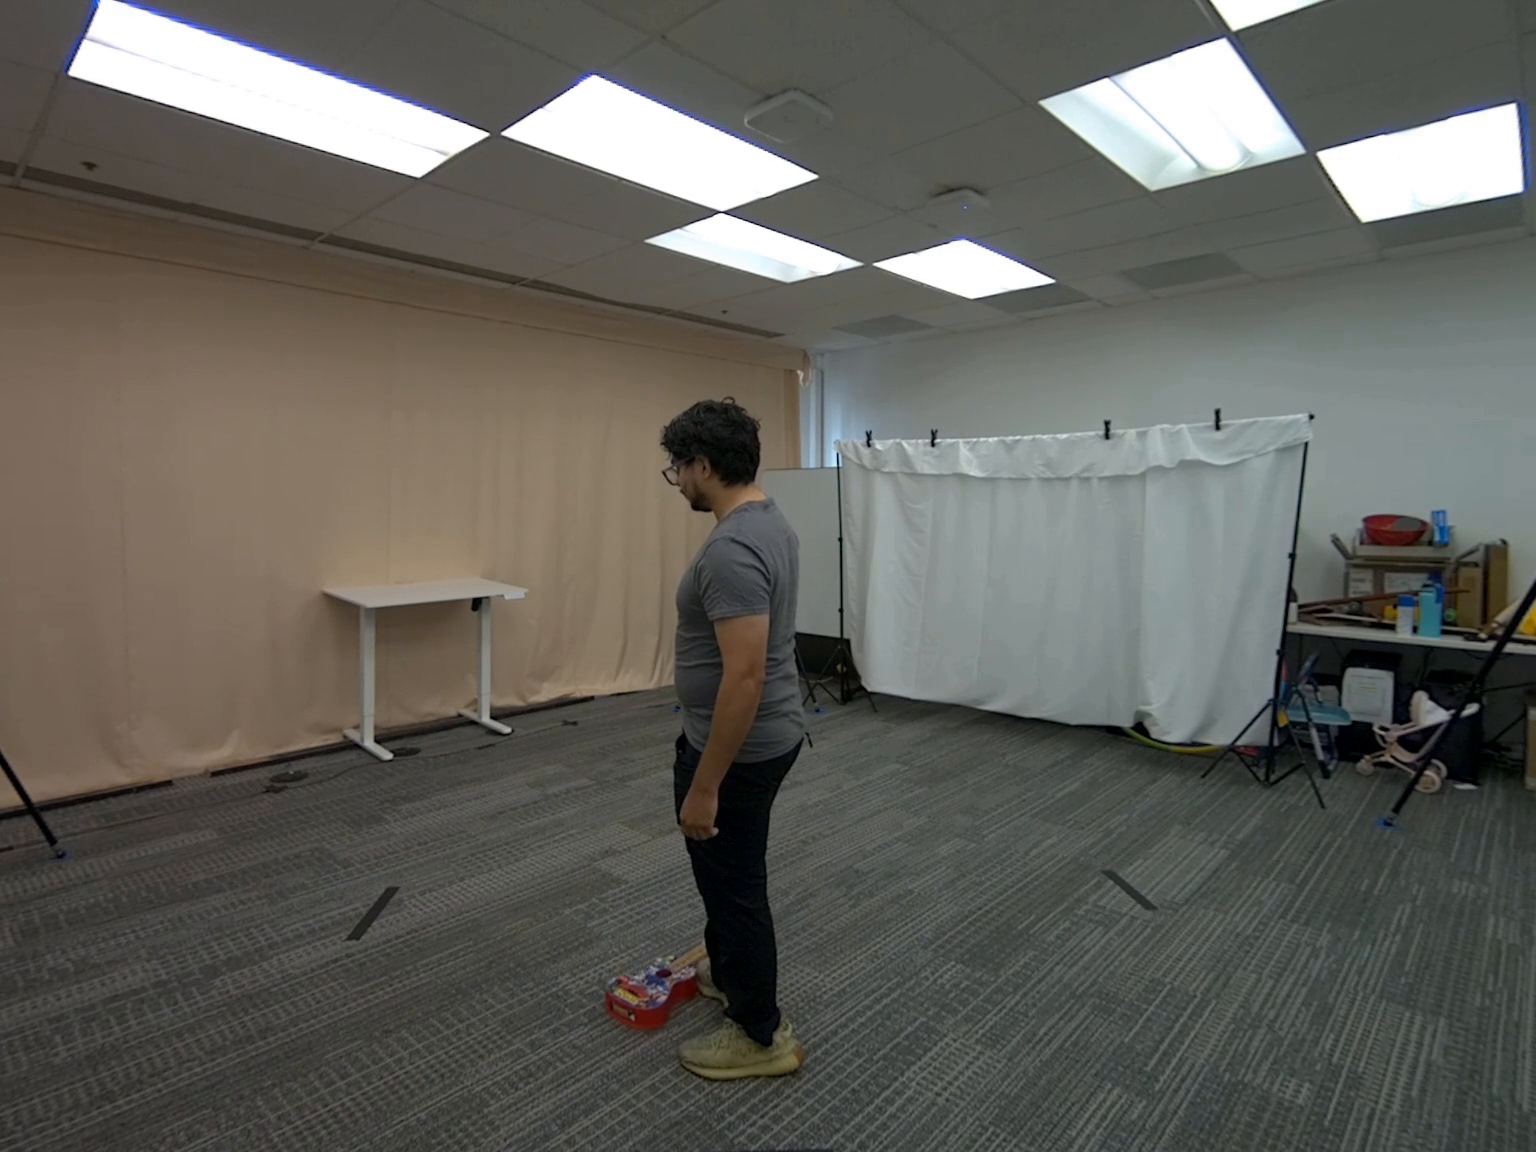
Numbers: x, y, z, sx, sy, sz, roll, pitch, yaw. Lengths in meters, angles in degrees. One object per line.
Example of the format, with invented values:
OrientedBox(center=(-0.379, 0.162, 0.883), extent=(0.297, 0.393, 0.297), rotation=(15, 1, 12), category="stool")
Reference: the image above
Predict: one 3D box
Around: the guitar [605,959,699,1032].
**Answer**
OrientedBox(center=(-0.230, 1.161, 2.434), extent=(0.483, 0.070, 0.199), rotation=(-5, 6, -43), category="guitar")
